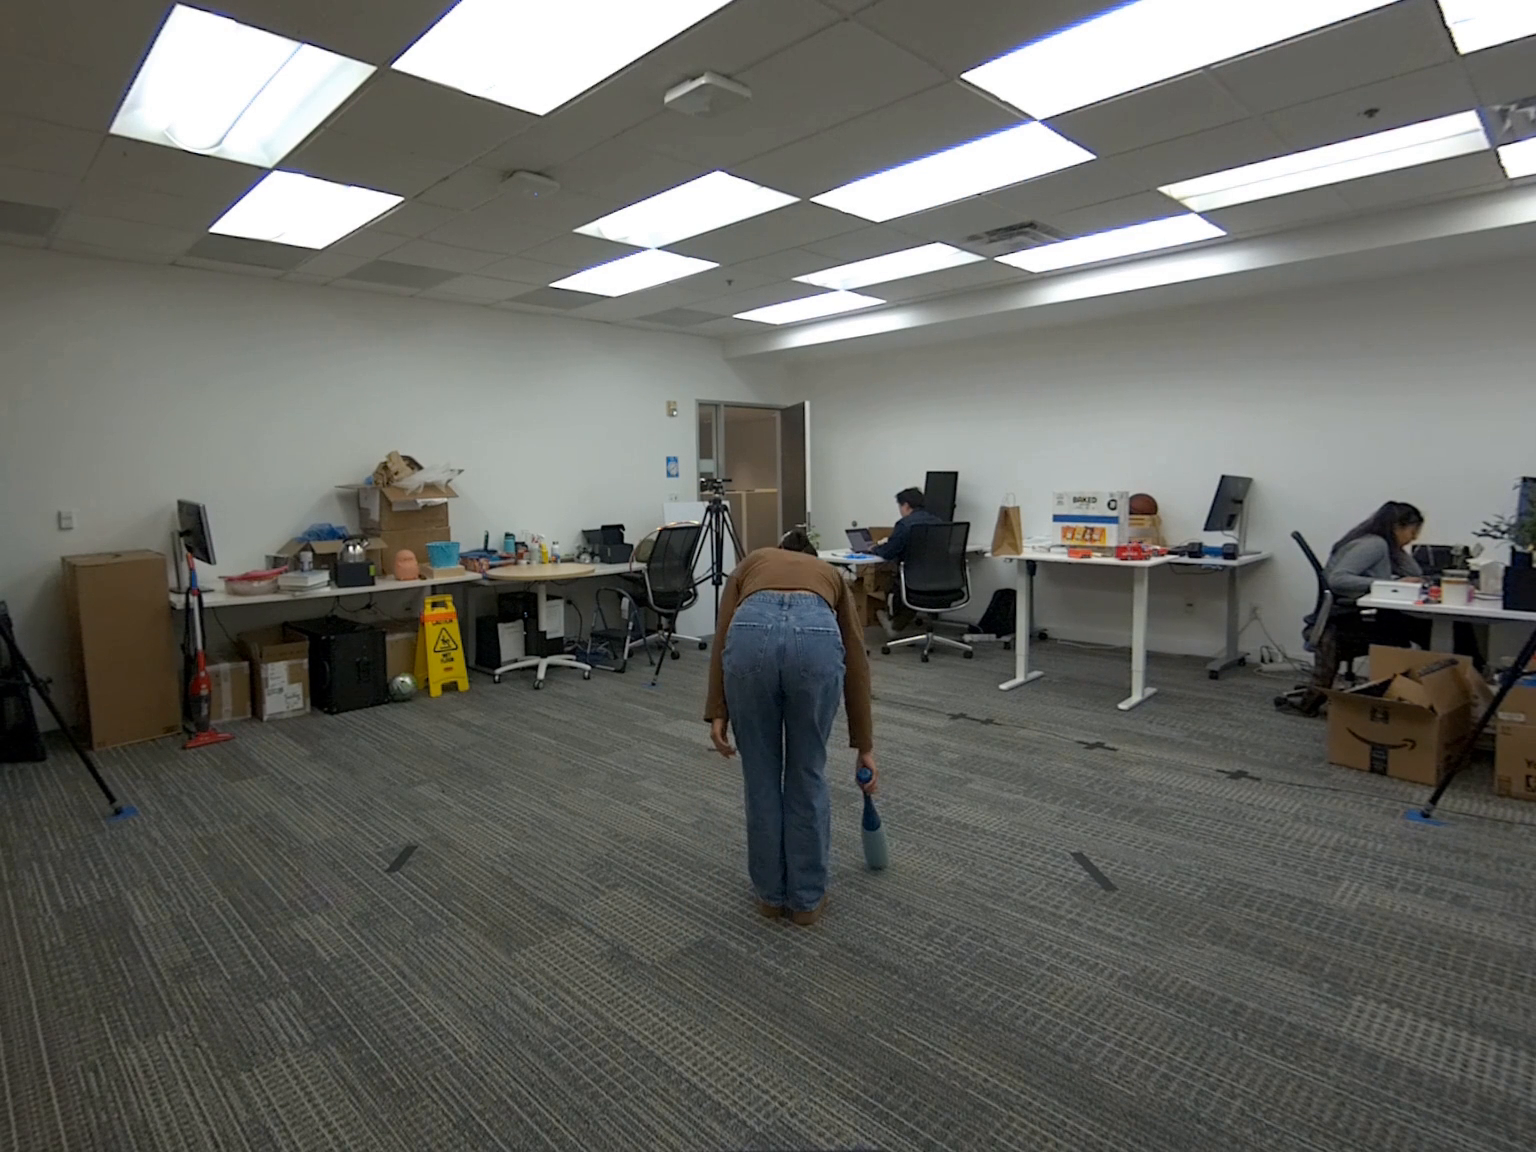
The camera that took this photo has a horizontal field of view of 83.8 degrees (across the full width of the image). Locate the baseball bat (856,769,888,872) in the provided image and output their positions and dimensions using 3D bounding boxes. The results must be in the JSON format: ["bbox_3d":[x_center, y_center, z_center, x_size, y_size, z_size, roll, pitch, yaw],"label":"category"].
[{"bbox_3d":[0.352,0.835,2.918,0.089,0.525,0.091,-7,42,5],"label":"baseball bat"}]
